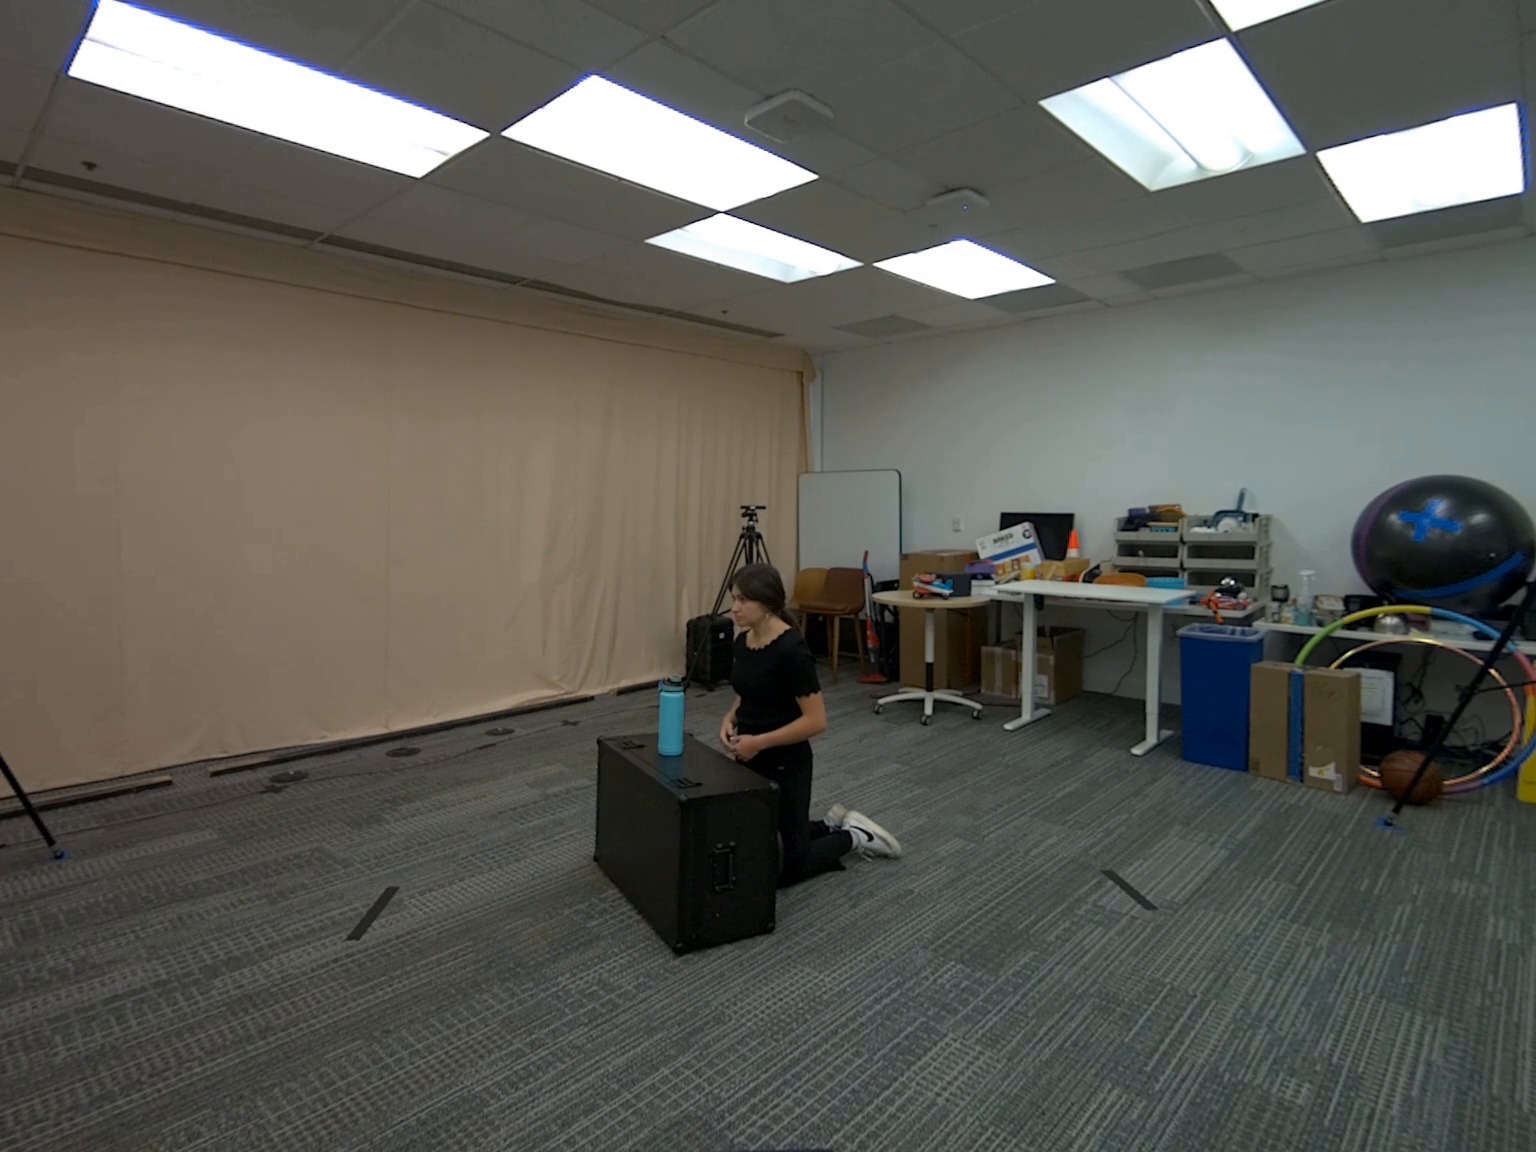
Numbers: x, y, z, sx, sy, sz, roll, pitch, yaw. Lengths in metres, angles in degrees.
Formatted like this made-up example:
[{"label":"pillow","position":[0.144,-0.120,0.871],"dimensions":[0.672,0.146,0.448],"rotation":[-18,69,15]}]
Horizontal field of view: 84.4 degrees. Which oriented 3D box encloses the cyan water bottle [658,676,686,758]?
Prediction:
[{"label":"cyan water bottle","position":[-0.353,0.512,3.098],"dimensions":[0.092,0.283,0.092],"rotation":[0,2,-2]}]
